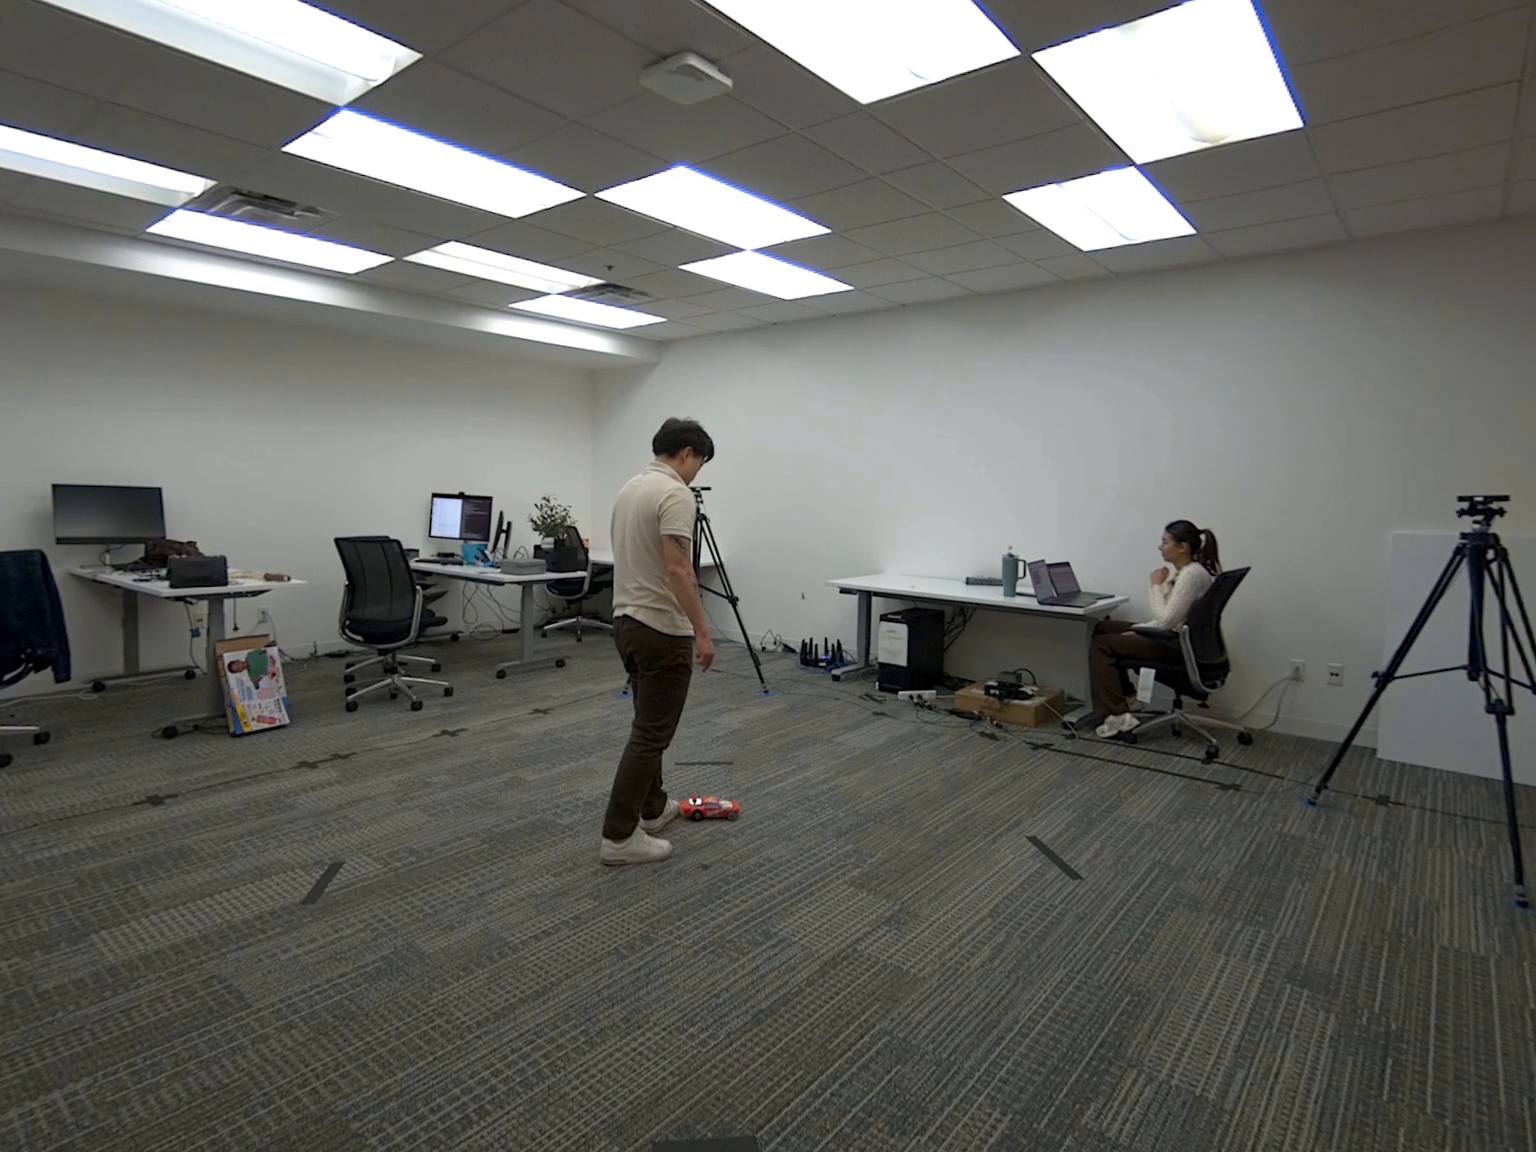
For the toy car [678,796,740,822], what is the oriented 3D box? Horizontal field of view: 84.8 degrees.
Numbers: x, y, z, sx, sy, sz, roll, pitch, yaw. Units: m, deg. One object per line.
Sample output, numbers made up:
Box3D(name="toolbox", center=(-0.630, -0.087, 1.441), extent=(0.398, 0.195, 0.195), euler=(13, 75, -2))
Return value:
Box3D(name="toy car", center=(-0.269, 0.984, 3.606), extent=(0.253, 0.083, 0.131), euler=(11, 4, -6))
